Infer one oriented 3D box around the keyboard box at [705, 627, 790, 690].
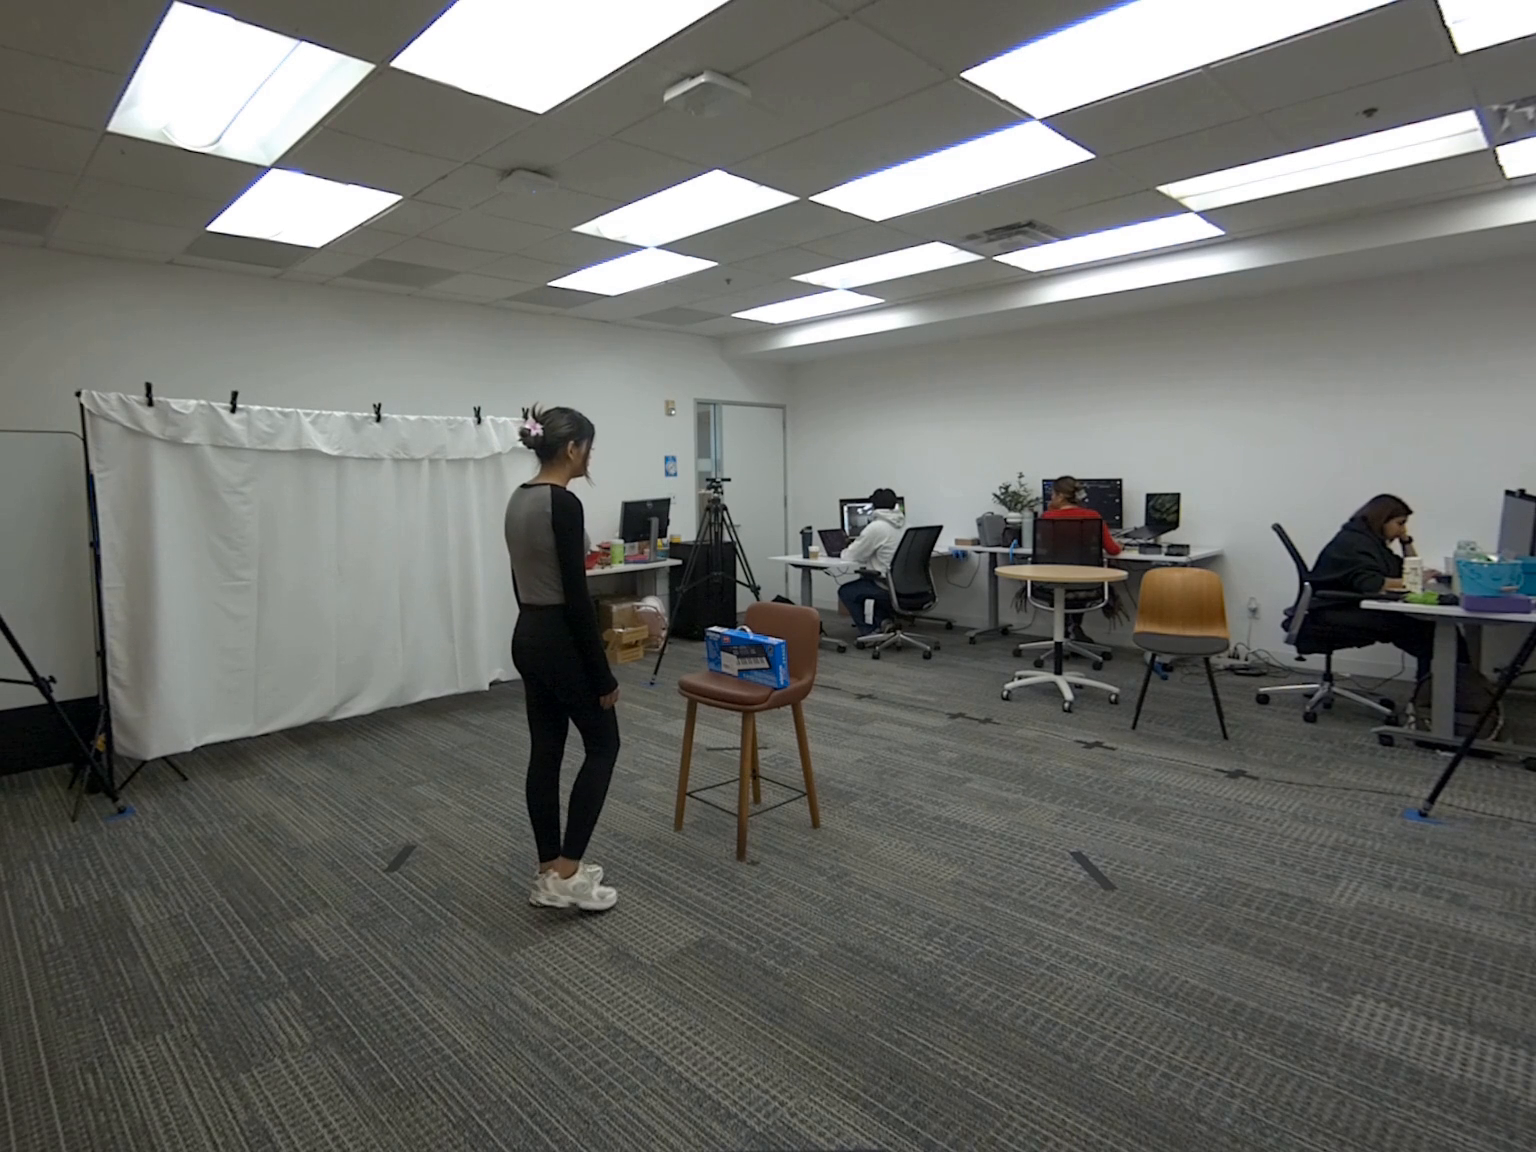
[{"bbox_3d":[-0.086,0.314,3.354,0.058,0.175,0.450,-10,10,-39],"label":"keyboard box"}]
